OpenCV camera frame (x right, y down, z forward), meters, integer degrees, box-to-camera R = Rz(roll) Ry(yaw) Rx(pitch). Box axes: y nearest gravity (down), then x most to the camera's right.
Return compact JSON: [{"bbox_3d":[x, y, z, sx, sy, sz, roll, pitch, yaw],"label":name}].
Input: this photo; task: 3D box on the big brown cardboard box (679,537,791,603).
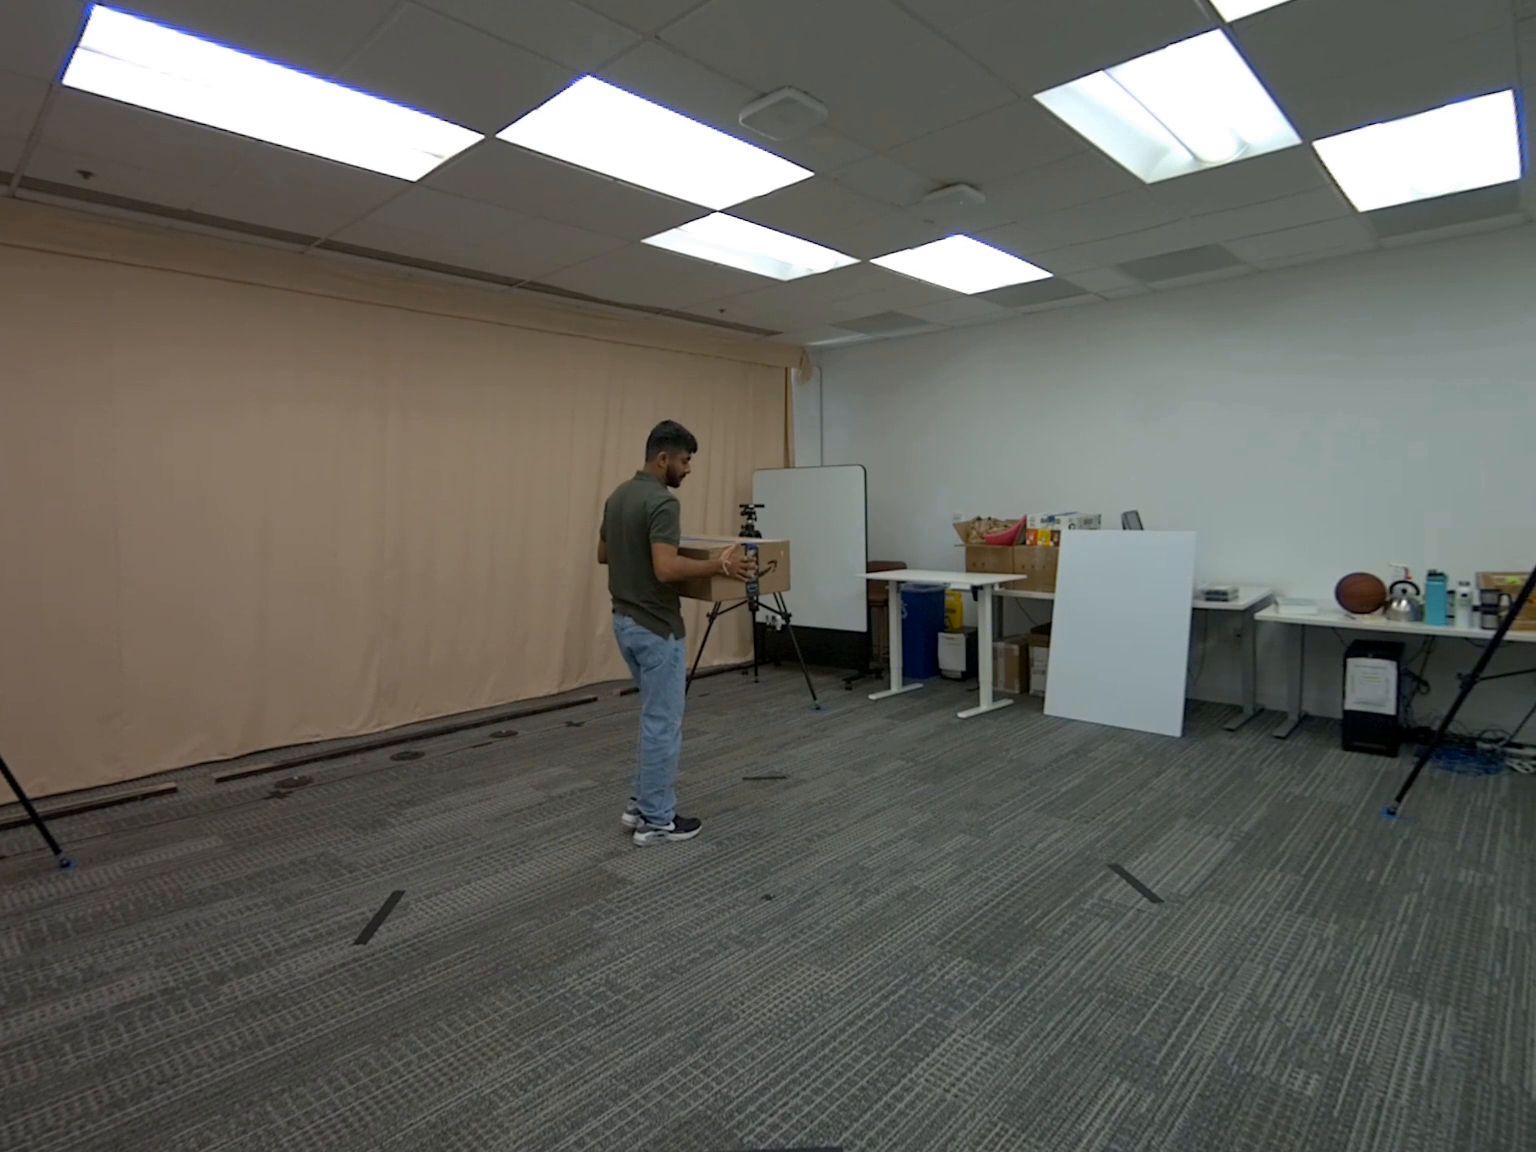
[{"bbox_3d":[-0.240,-0.041,3.673,0.406,0.232,0.608,-8,8,-37],"label":"big brown cardboard box"}]
